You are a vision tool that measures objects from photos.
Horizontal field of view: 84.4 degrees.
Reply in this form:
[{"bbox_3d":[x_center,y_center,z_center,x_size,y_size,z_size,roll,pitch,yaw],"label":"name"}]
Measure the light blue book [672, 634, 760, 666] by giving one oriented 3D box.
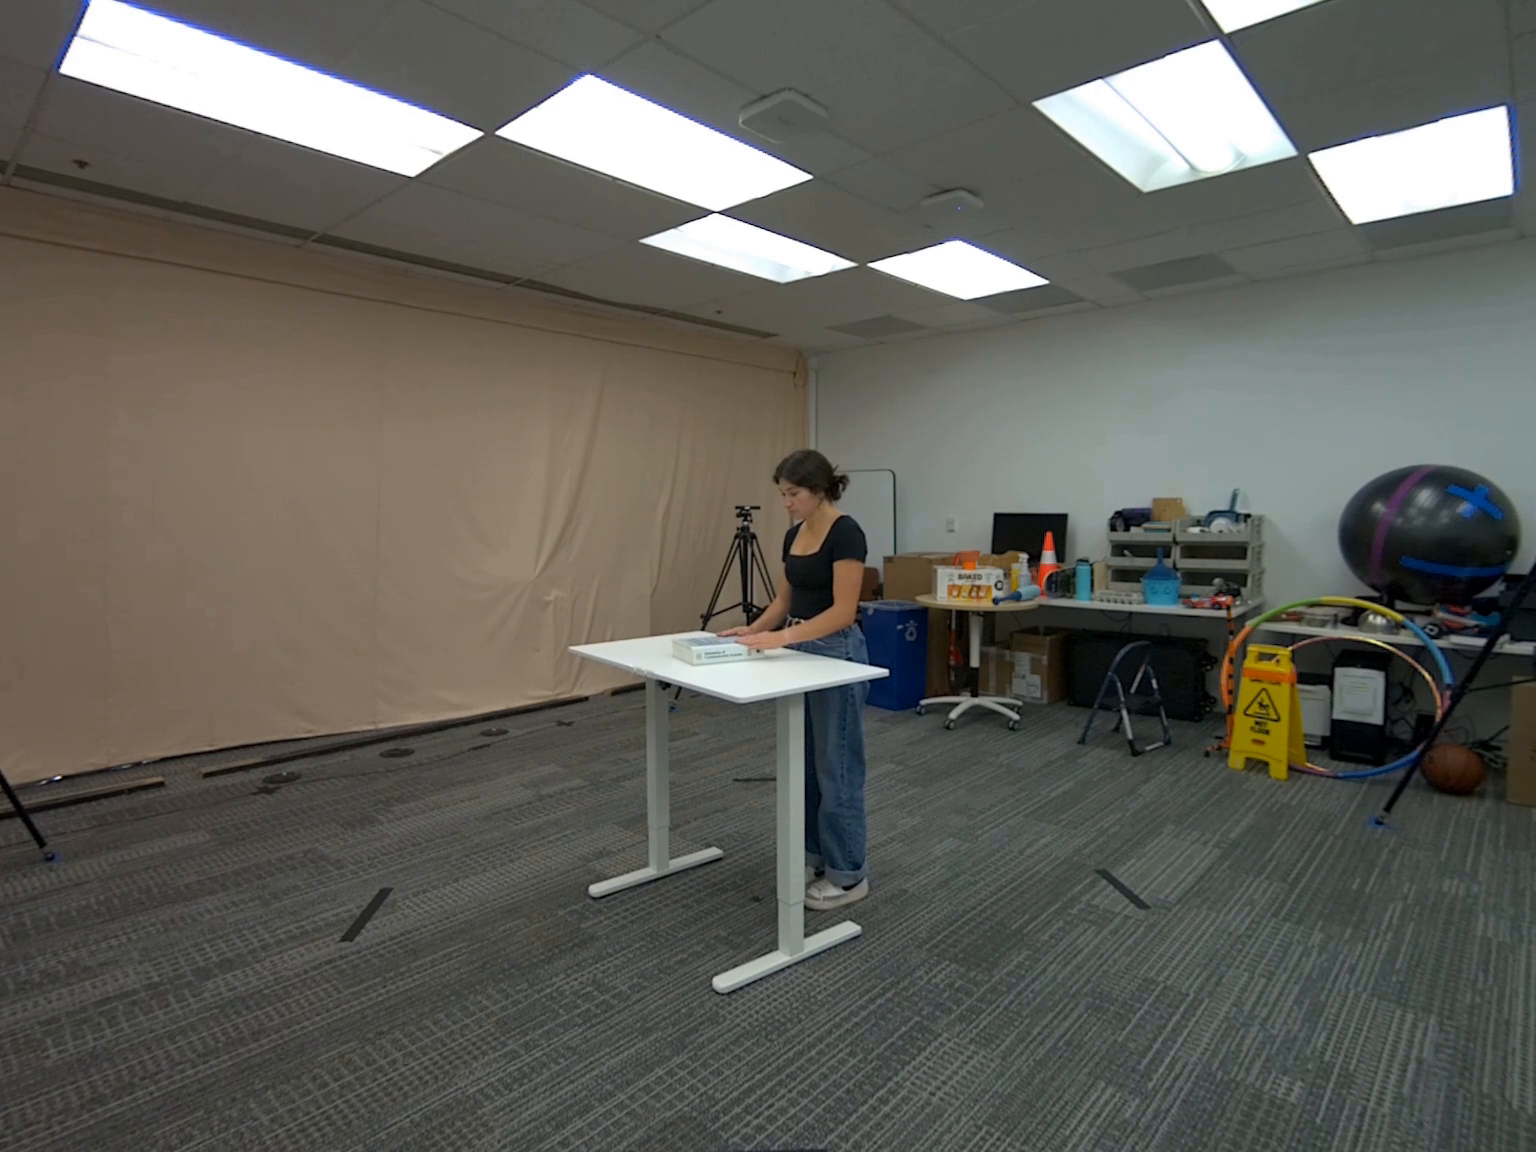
[{"bbox_3d":[-0.173,0.250,2.846,0.254,0.059,0.197,-1,5,-27],"label":"light blue book"}]
